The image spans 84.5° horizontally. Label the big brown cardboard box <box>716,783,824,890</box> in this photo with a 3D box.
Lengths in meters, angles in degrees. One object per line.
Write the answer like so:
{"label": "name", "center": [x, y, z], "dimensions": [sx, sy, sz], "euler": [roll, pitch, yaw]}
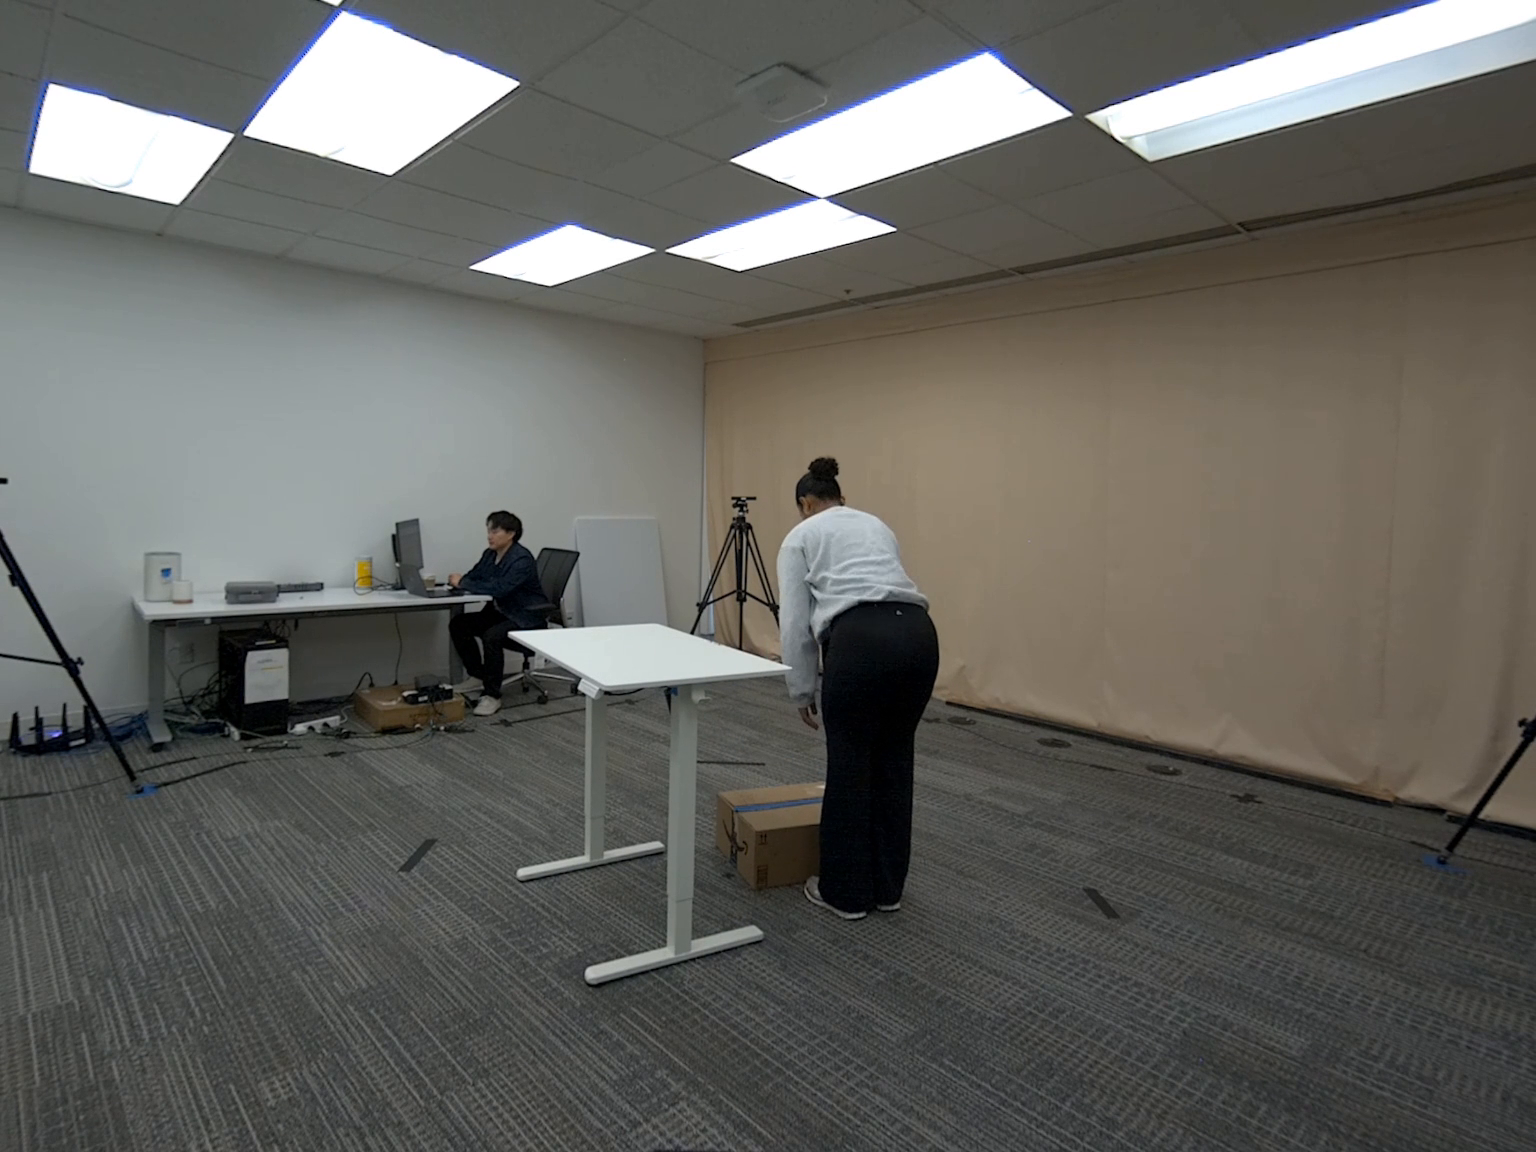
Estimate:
{"label": "big brown cardboard box", "center": [0.125, 0.986, 3.277], "dimensions": [0.579, 0.232, 0.425], "euler": [-1, 5, -23]}
